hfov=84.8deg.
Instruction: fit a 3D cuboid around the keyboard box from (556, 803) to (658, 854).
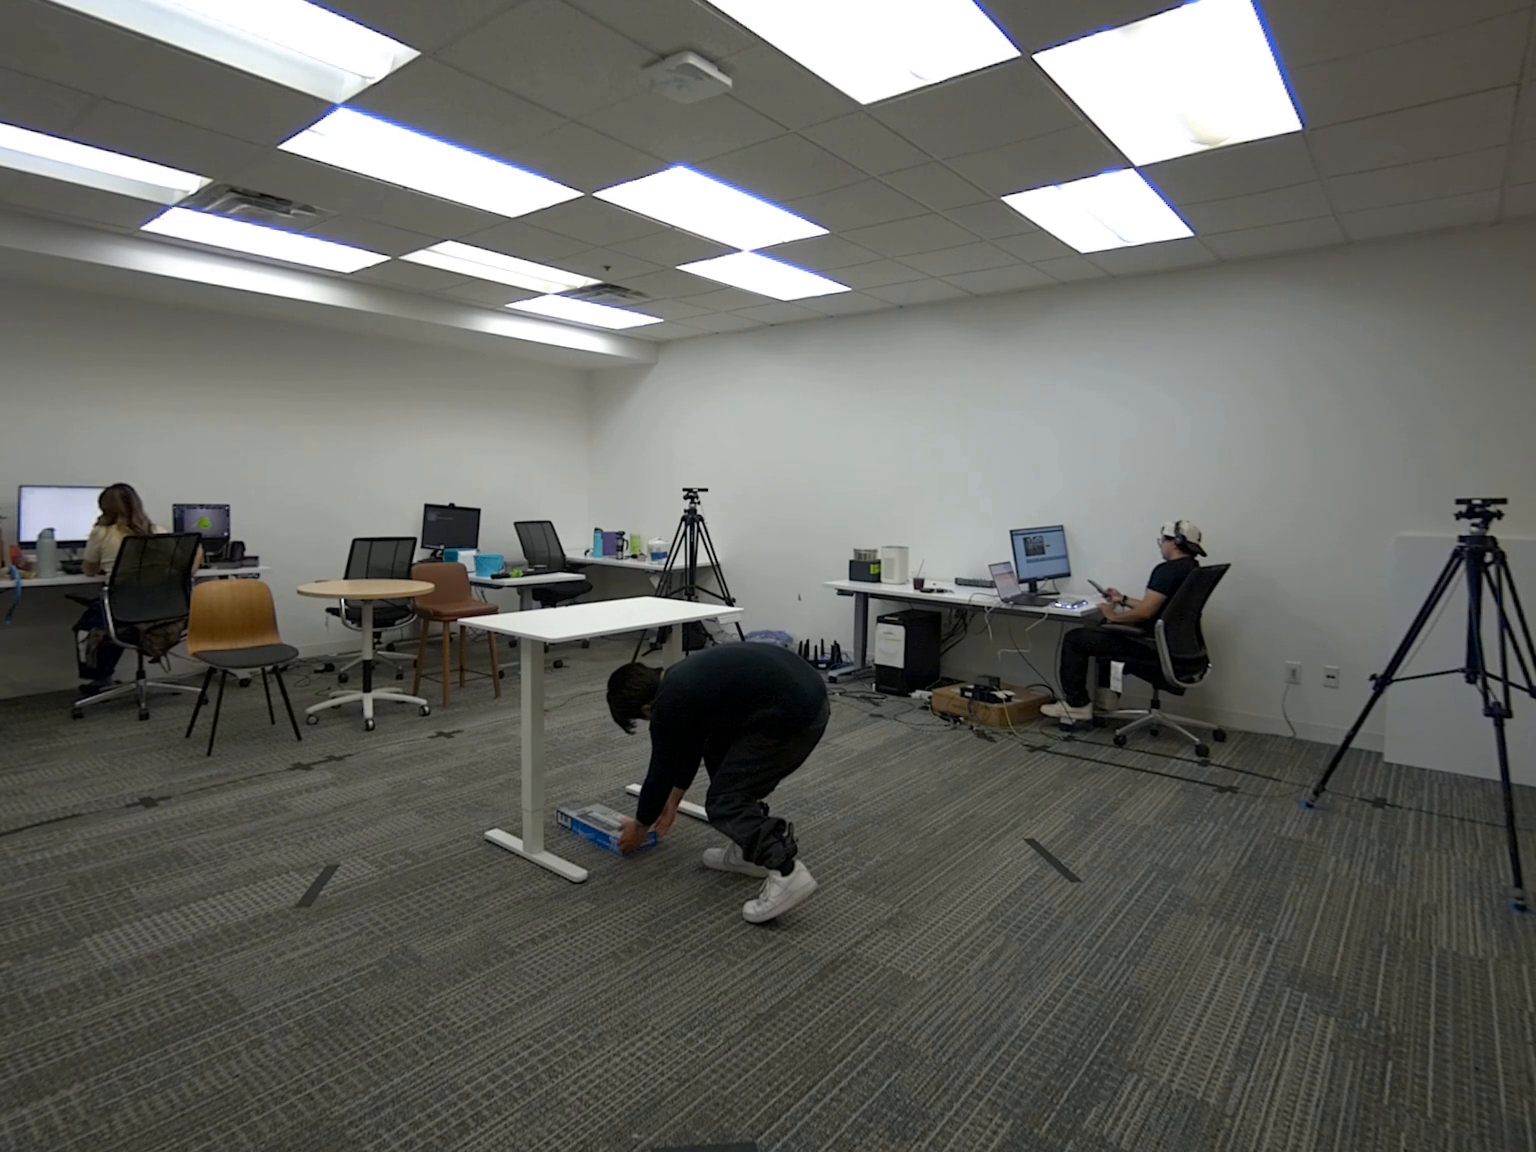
[{"bbox_3d":[-0.665,1.004,3.417,0.452,0.059,0.170,7,7,43],"label":"keyboard box"}]
